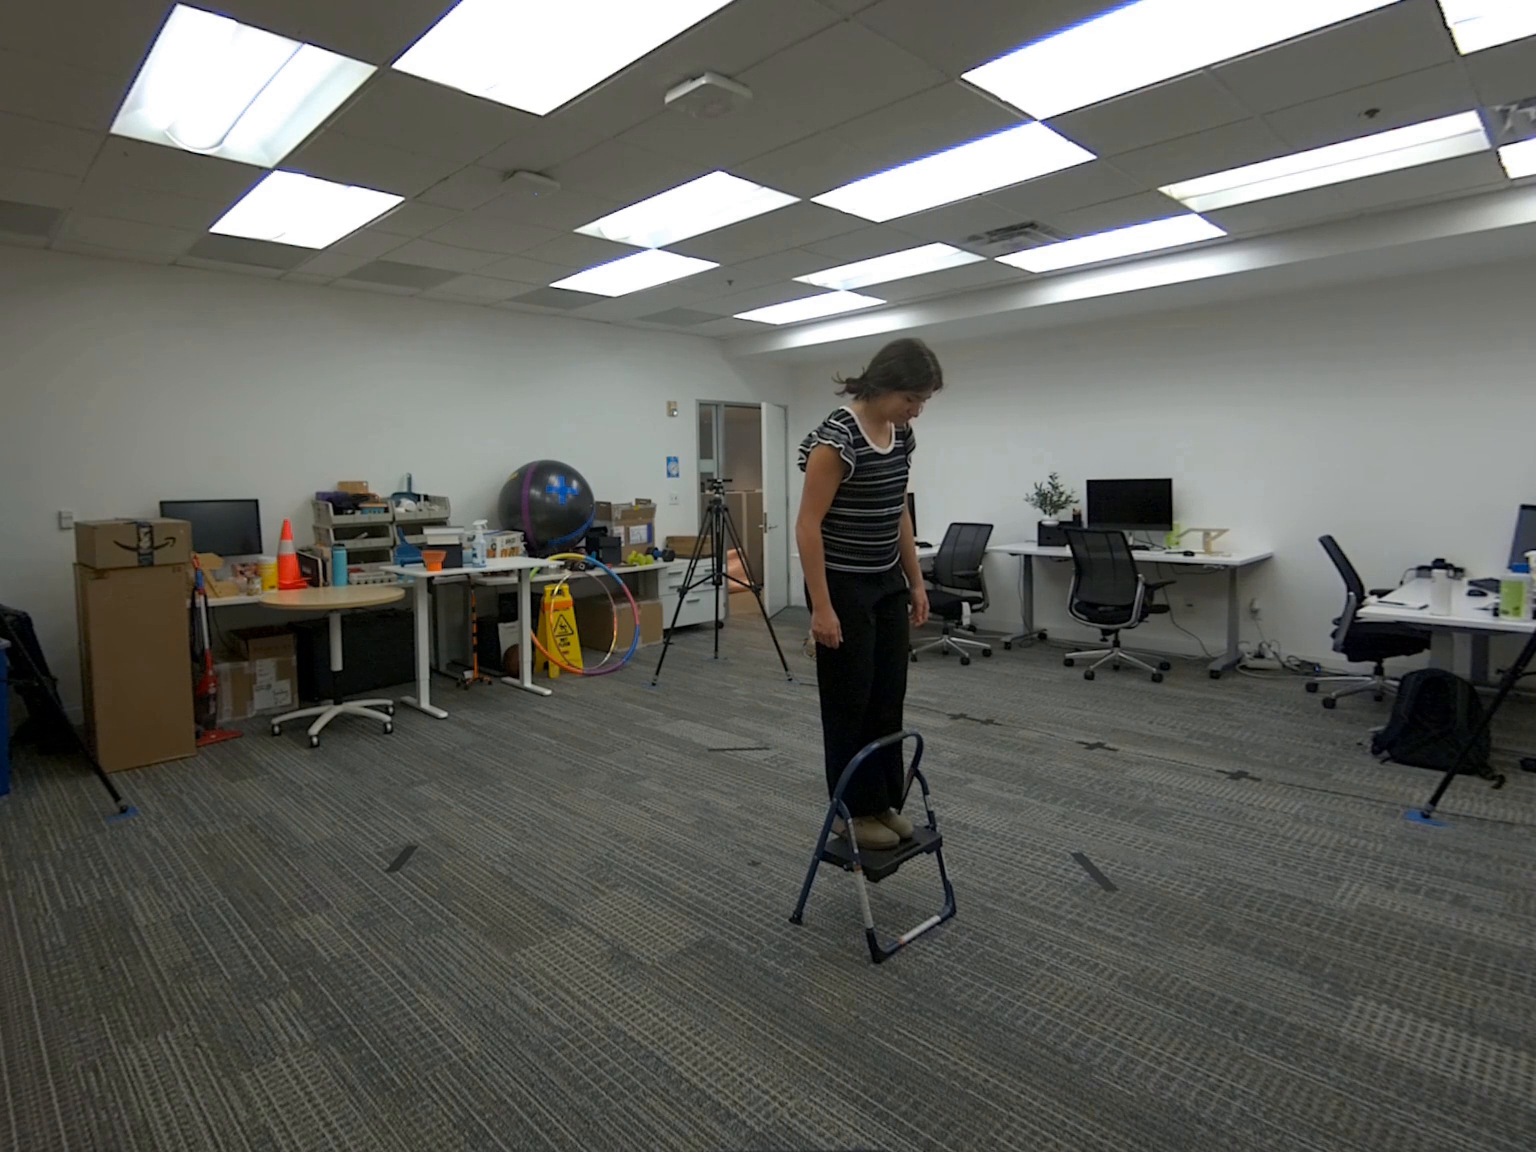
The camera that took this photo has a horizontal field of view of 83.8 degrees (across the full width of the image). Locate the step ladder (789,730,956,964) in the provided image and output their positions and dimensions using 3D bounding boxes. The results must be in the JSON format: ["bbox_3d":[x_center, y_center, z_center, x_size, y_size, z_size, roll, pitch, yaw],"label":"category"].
[{"bbox_3d":[0.334,0.785,2.690,0.360,0.604,0.419,3,6,45],"label":"step ladder"}]
